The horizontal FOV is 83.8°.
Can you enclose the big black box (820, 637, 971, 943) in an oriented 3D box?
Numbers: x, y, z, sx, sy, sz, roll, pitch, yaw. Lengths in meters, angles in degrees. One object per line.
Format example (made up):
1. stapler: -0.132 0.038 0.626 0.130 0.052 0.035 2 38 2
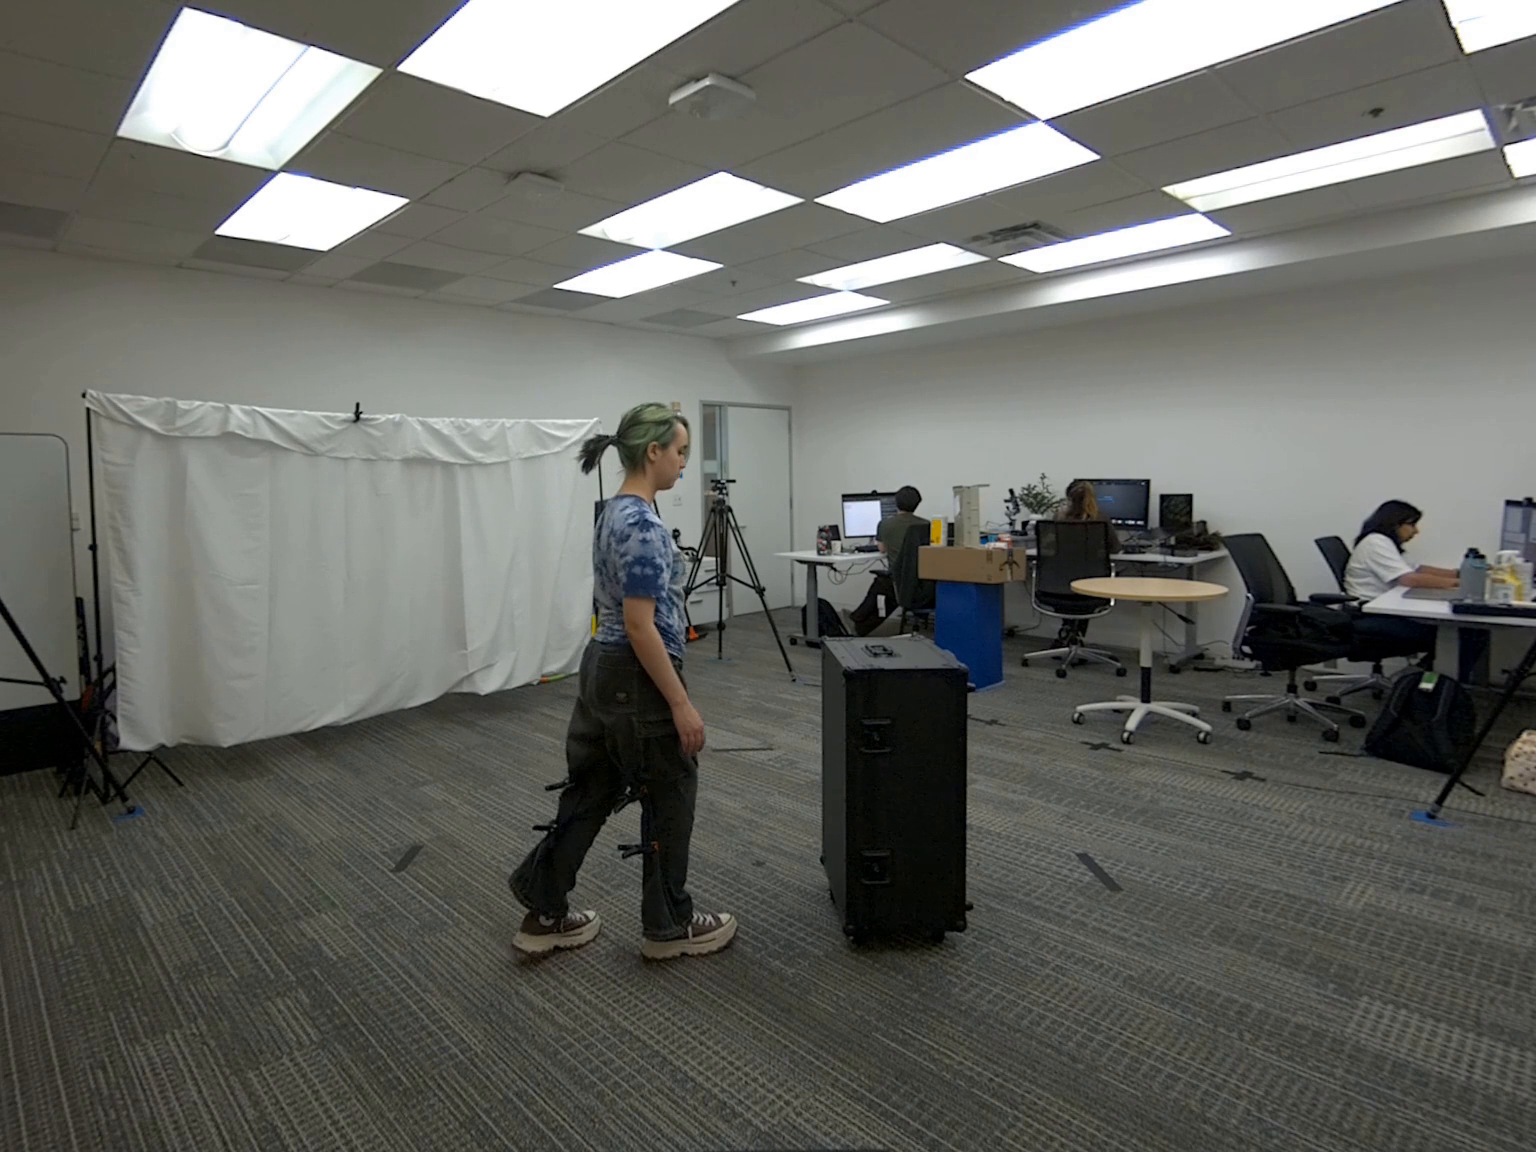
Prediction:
1. big black box: 0.394 0.660 2.707 0.395 0.859 0.525 0 4 -5
